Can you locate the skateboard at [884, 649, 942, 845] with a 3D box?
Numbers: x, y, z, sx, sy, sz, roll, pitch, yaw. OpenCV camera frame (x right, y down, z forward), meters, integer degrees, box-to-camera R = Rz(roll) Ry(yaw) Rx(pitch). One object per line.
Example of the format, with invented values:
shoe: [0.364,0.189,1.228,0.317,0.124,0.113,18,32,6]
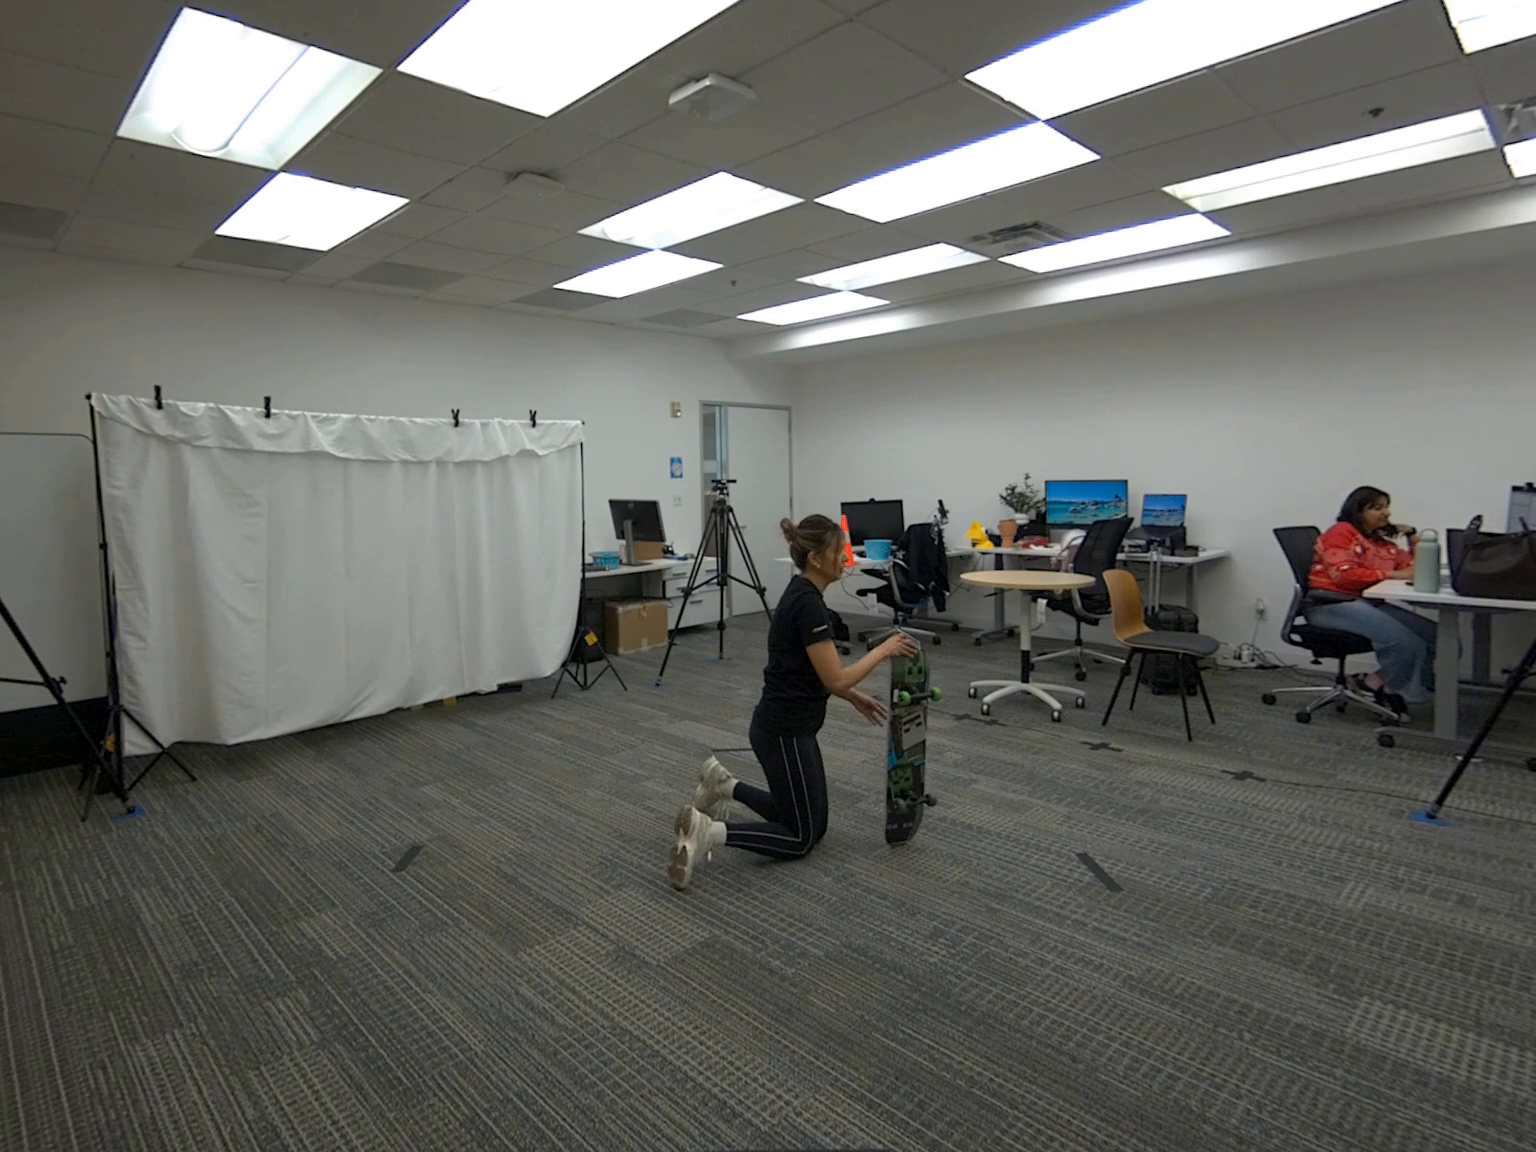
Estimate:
skateboard: [0.528,0.634,3.166,0.189,0.782,0.113,-1,5,-30]
